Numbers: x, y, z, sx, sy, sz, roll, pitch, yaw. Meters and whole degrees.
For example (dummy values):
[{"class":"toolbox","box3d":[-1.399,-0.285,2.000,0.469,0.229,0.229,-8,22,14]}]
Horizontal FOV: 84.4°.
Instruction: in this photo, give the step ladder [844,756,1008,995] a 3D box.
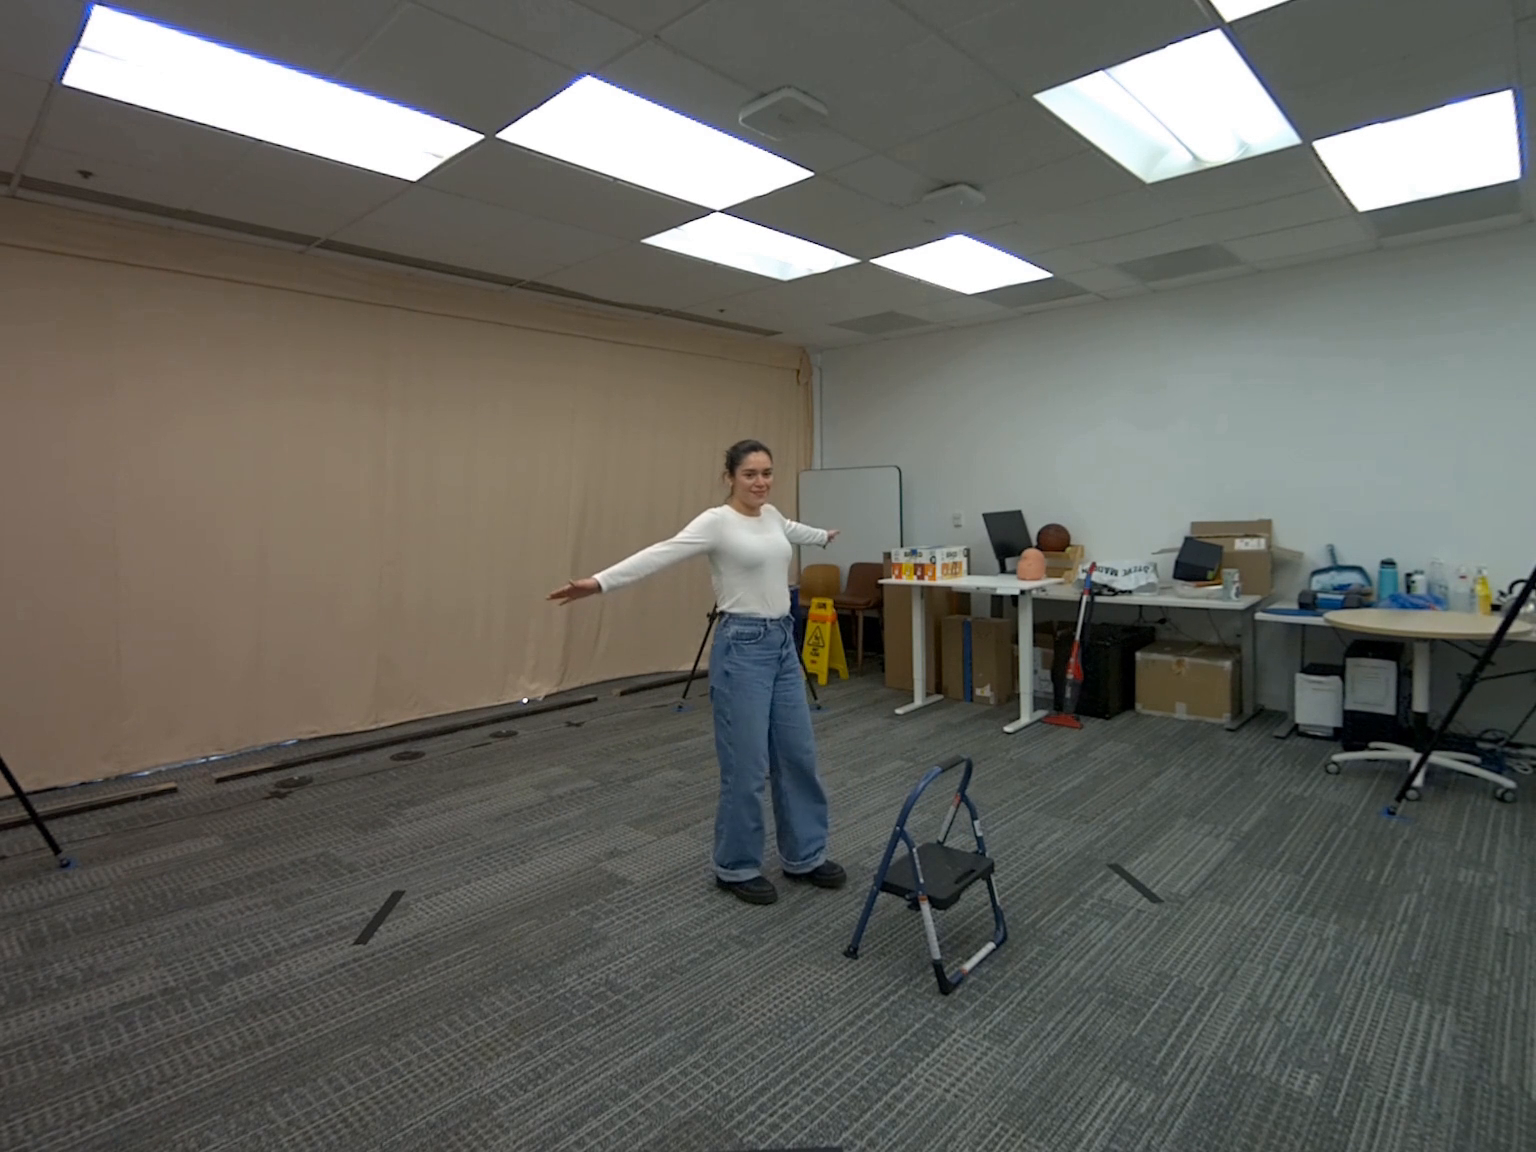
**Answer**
[{"class":"step ladder","box3d":[0.501,0.861,2.615,0.361,0.604,0.418,2,5,40]}]
